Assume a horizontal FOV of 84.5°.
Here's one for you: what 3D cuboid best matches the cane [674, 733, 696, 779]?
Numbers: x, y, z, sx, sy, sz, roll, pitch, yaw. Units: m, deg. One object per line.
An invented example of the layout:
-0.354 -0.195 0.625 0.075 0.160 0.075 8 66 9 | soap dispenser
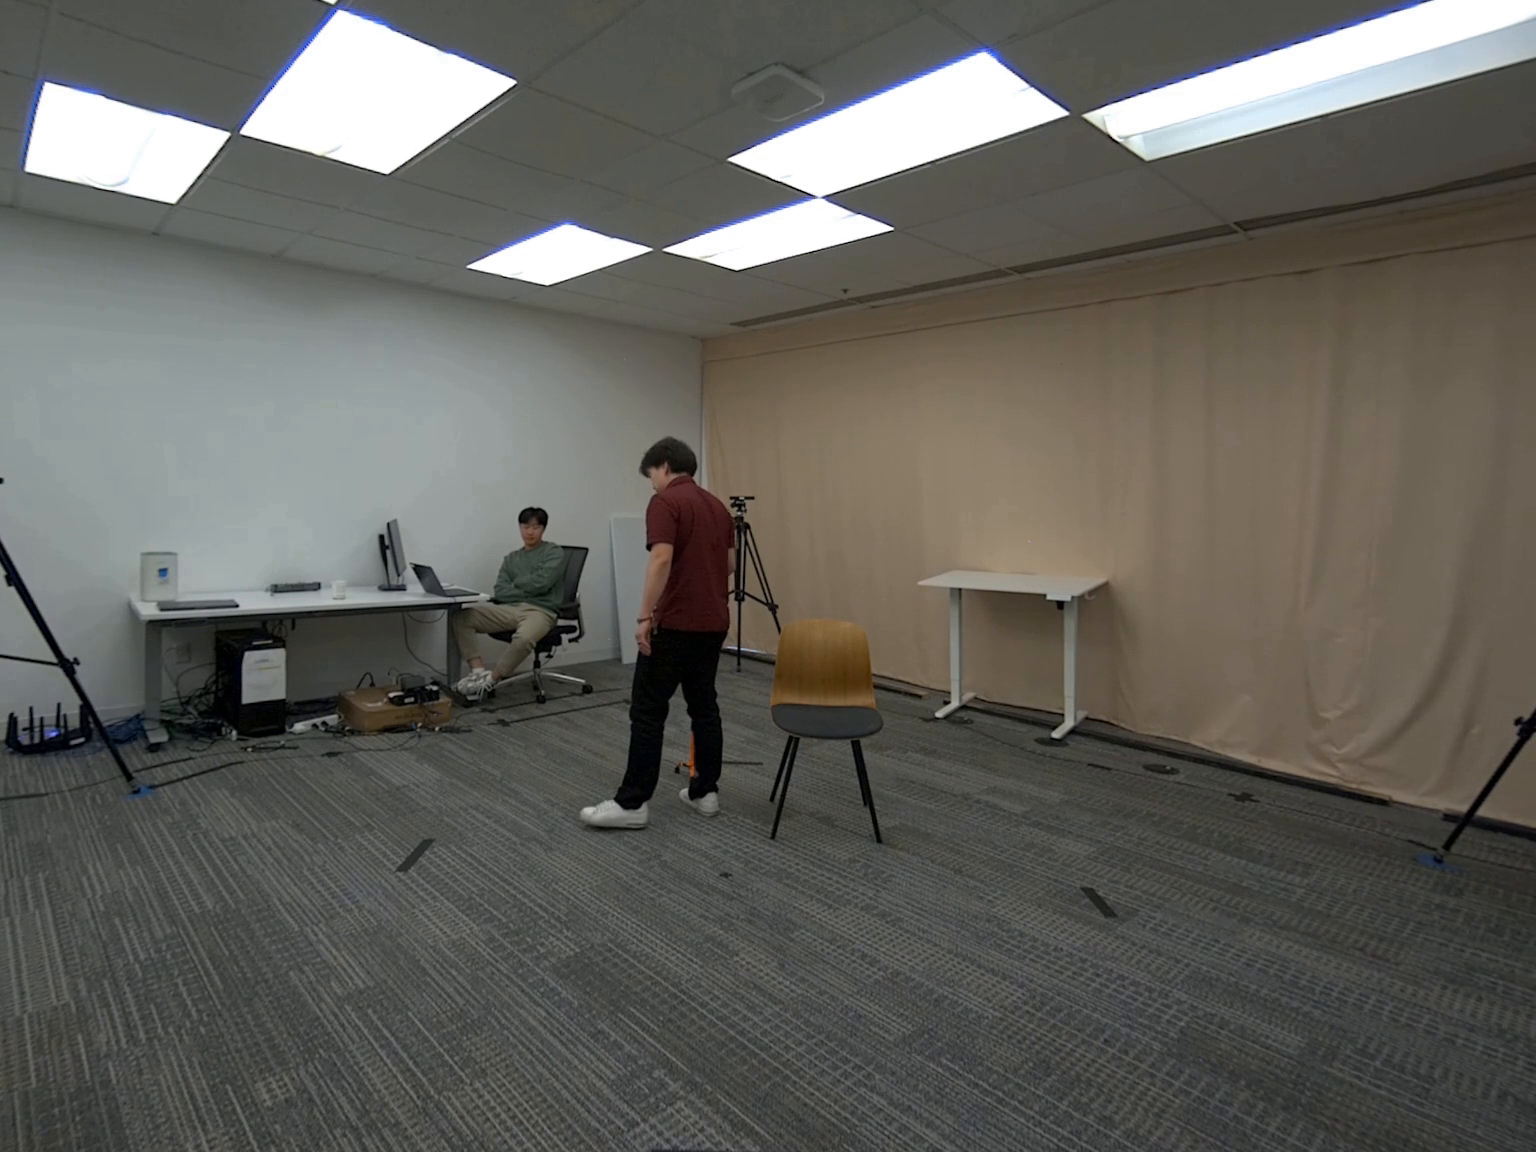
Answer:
-0.358 0.554 4.205 0.148 0.906 0.211 1 3 -29 | cane
